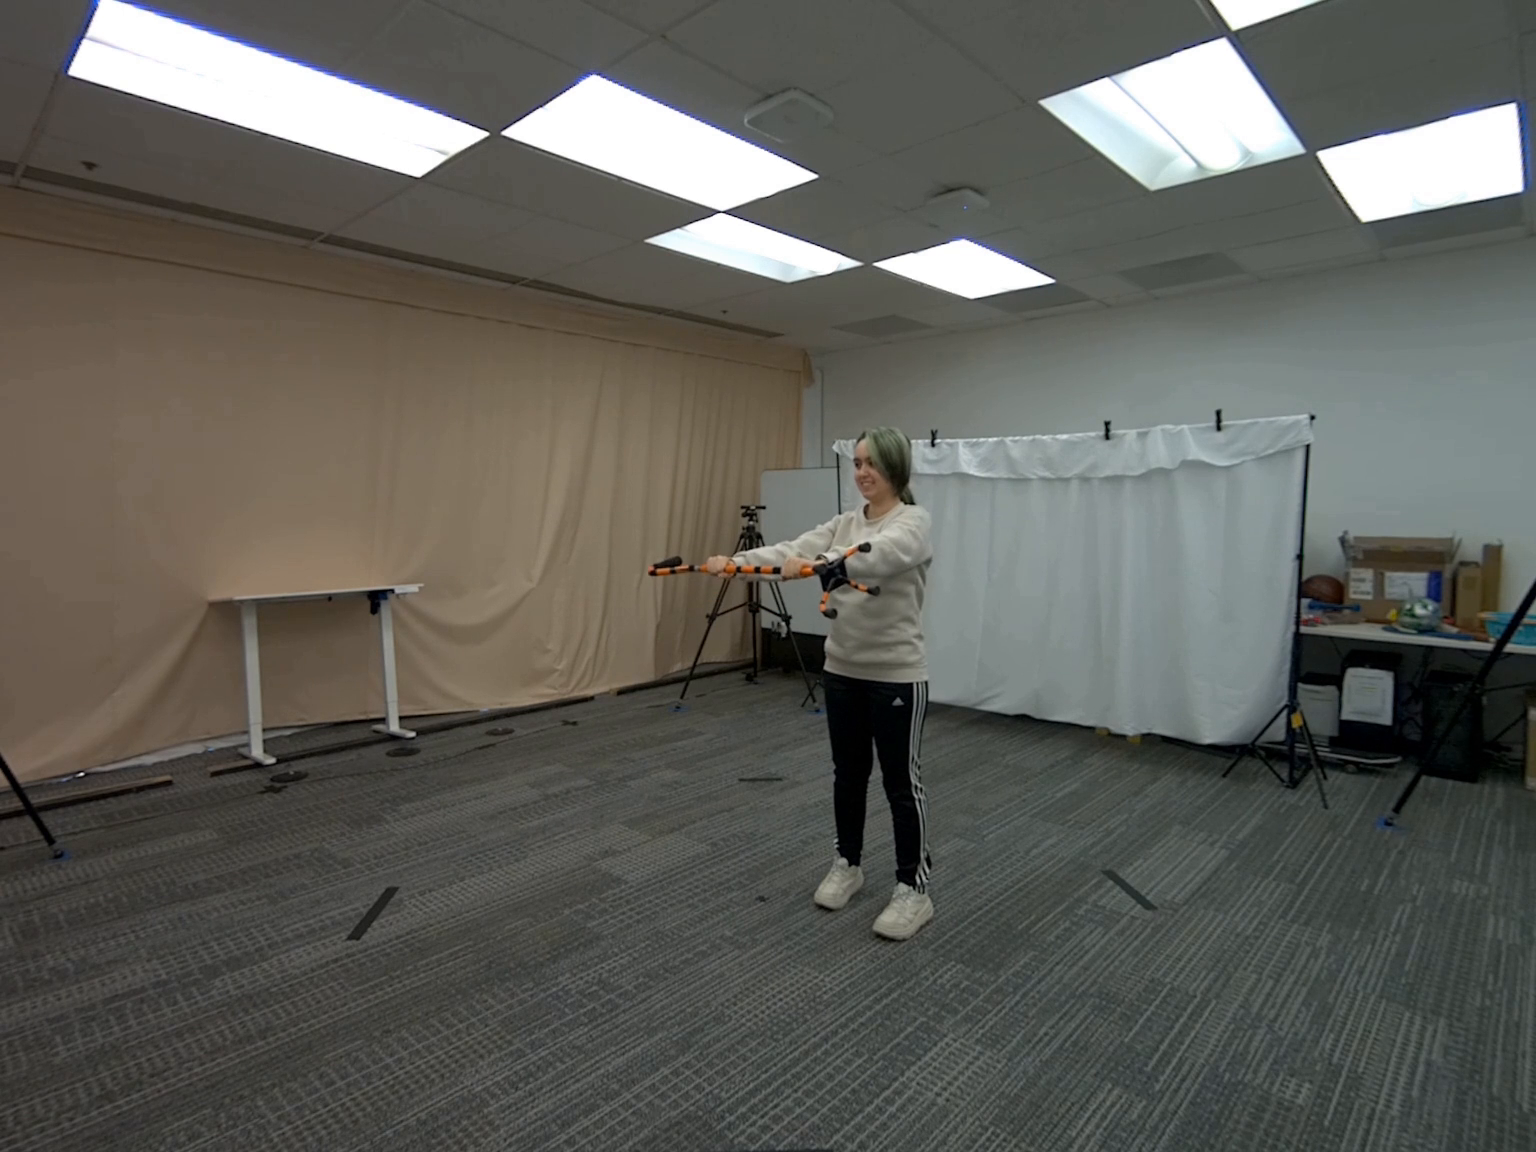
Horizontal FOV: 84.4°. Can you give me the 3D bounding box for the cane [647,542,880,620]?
[{"bbox_3d":[-0.085,-0.002,2.563,0.202,0.150,0.937,-26,18,-36],"label":"cane"}]
